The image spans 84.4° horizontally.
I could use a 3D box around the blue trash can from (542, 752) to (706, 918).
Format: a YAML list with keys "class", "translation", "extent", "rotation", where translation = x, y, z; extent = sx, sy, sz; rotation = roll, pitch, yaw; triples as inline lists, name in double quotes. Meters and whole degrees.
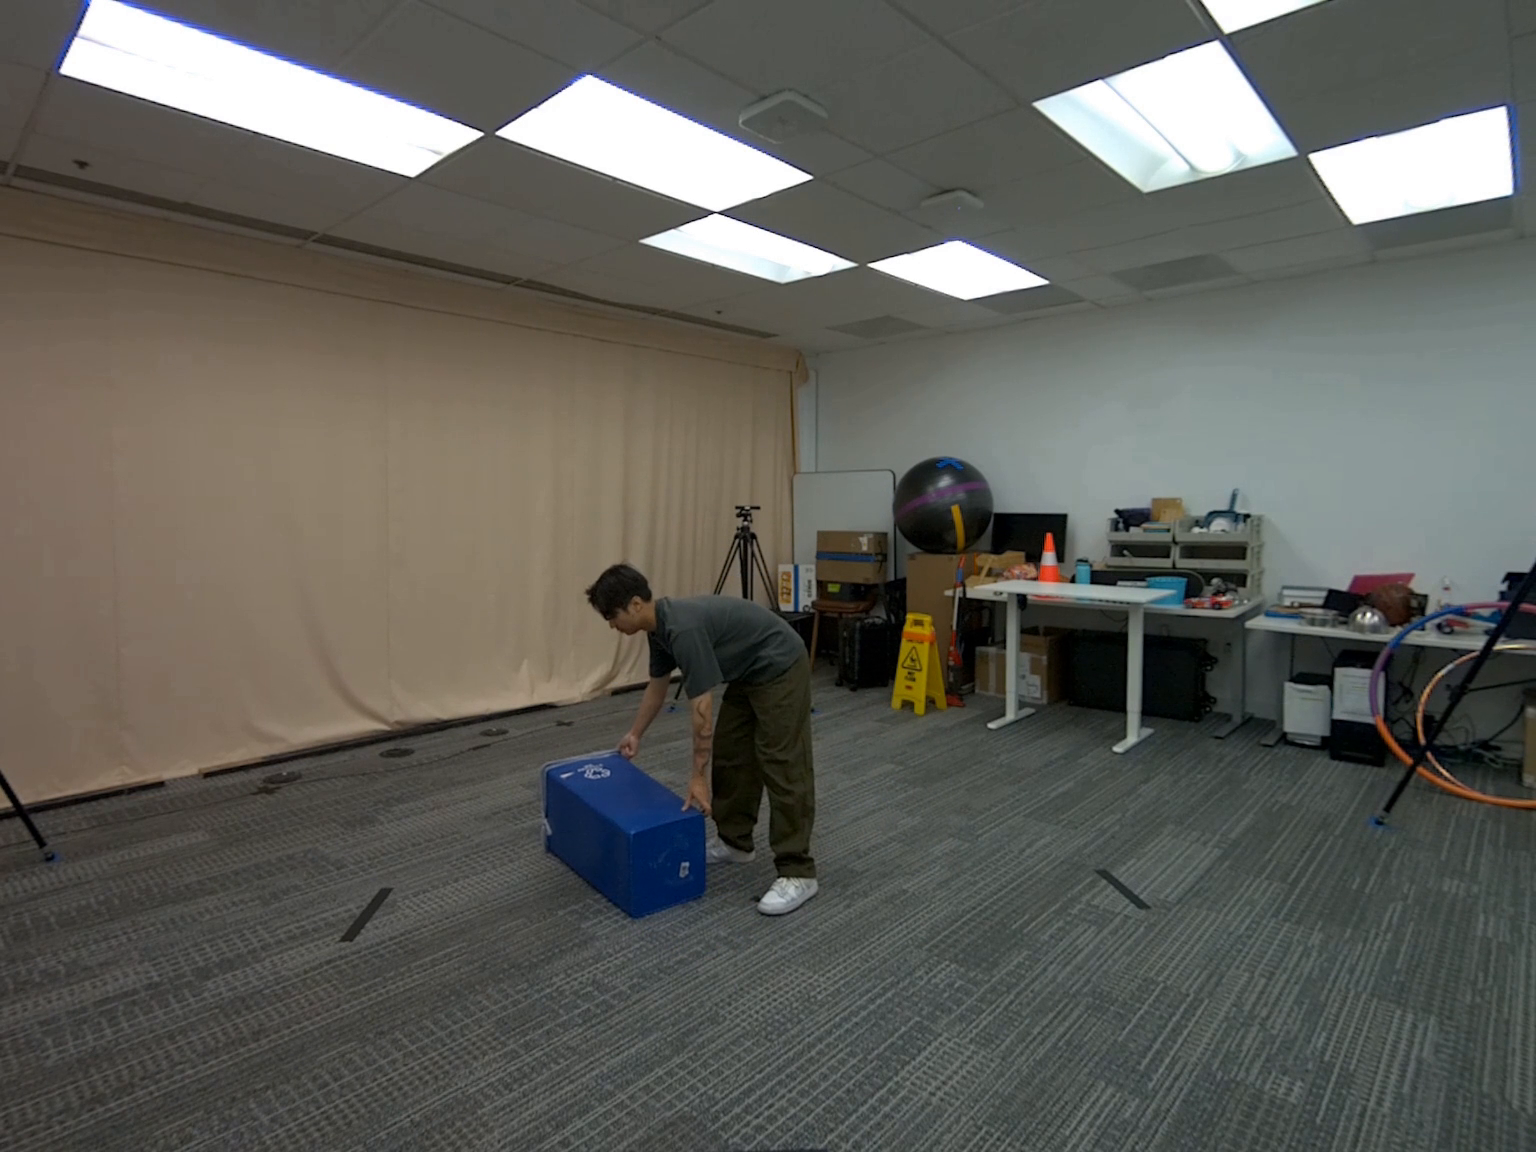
- class: "blue trash can"
  translation: [-0.553, 0.956, 3.197]
  extent: [0.367, 0.373, 0.737]
  rotation: [-4, 7, -35]
